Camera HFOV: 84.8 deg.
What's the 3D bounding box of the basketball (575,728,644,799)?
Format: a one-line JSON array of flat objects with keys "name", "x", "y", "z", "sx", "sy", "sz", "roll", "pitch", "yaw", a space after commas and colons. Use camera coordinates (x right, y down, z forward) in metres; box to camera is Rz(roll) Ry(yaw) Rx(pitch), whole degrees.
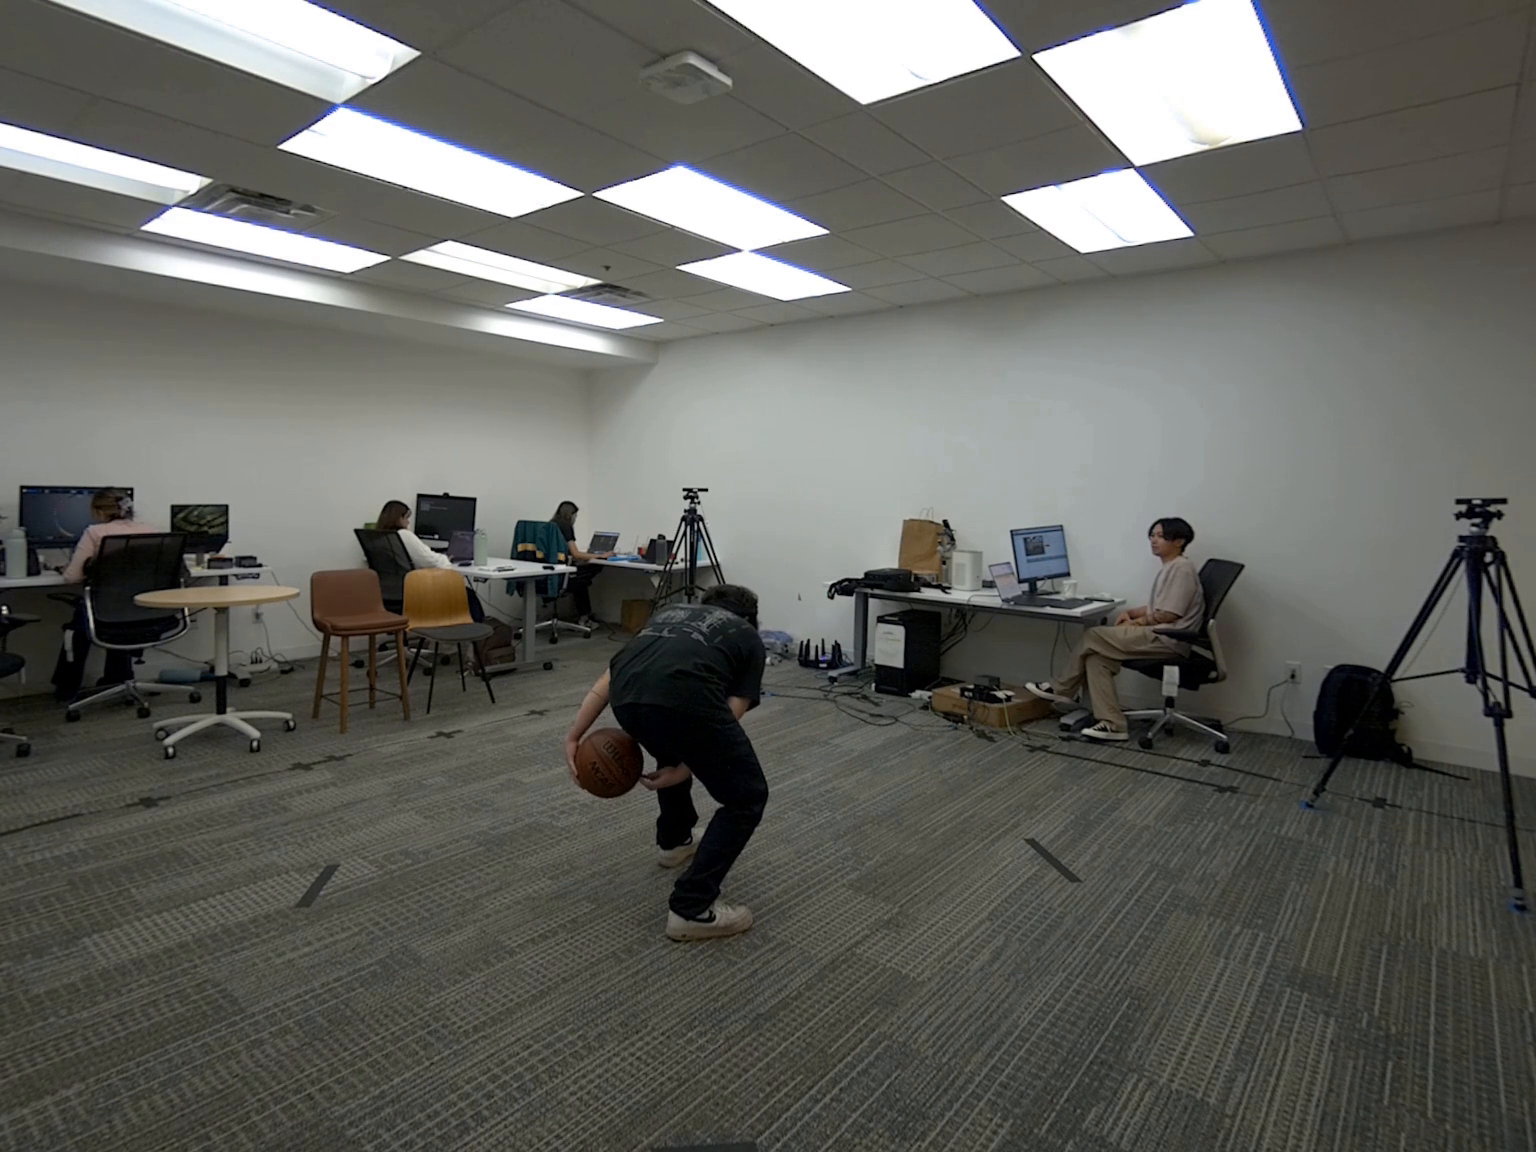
[{"name": "basketball", "x": -0.557, "y": 0.649, "z": 2.965, "sx": 0.235, "sy": 0.235, "sz": 0.237, "roll": 1, "pitch": 4, "yaw": -2}]
